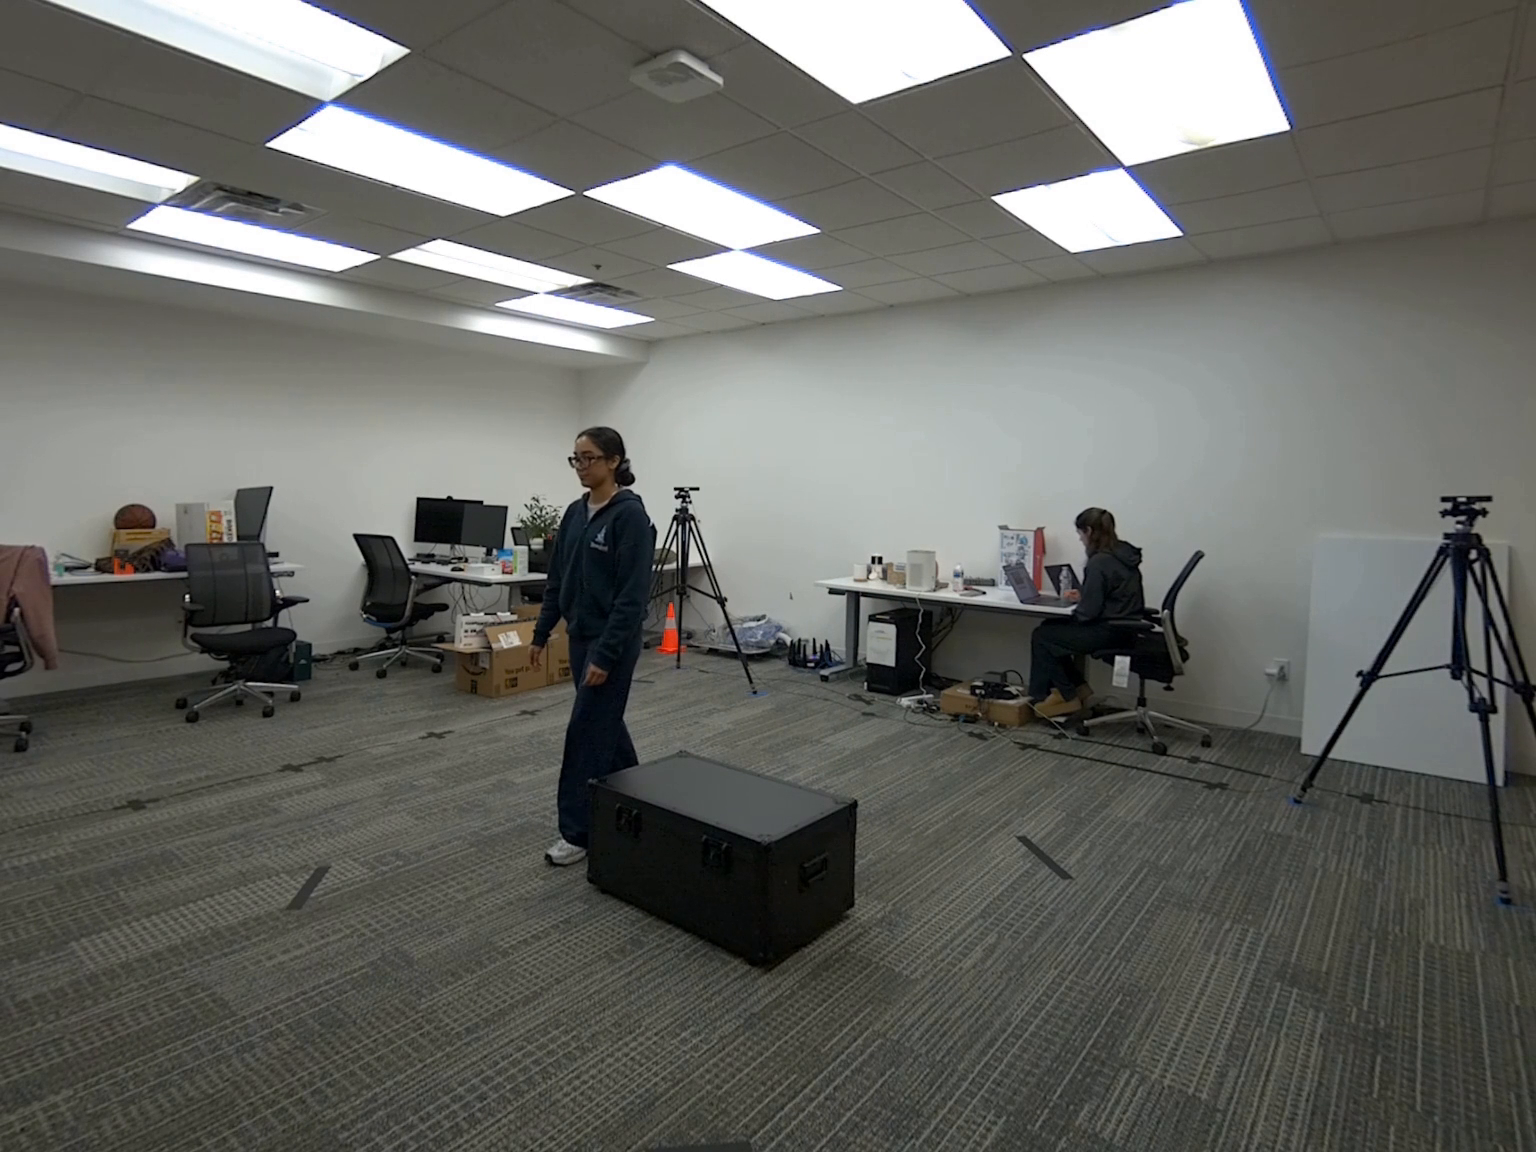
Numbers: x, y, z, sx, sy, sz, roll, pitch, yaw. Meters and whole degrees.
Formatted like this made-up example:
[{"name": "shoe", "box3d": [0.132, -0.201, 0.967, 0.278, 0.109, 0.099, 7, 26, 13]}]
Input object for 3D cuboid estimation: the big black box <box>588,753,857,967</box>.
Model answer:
[{"name": "big black box", "box3d": [-0.198, 0.900, 2.875, 0.890, 0.395, 0.506, 5, 6, 38]}]
